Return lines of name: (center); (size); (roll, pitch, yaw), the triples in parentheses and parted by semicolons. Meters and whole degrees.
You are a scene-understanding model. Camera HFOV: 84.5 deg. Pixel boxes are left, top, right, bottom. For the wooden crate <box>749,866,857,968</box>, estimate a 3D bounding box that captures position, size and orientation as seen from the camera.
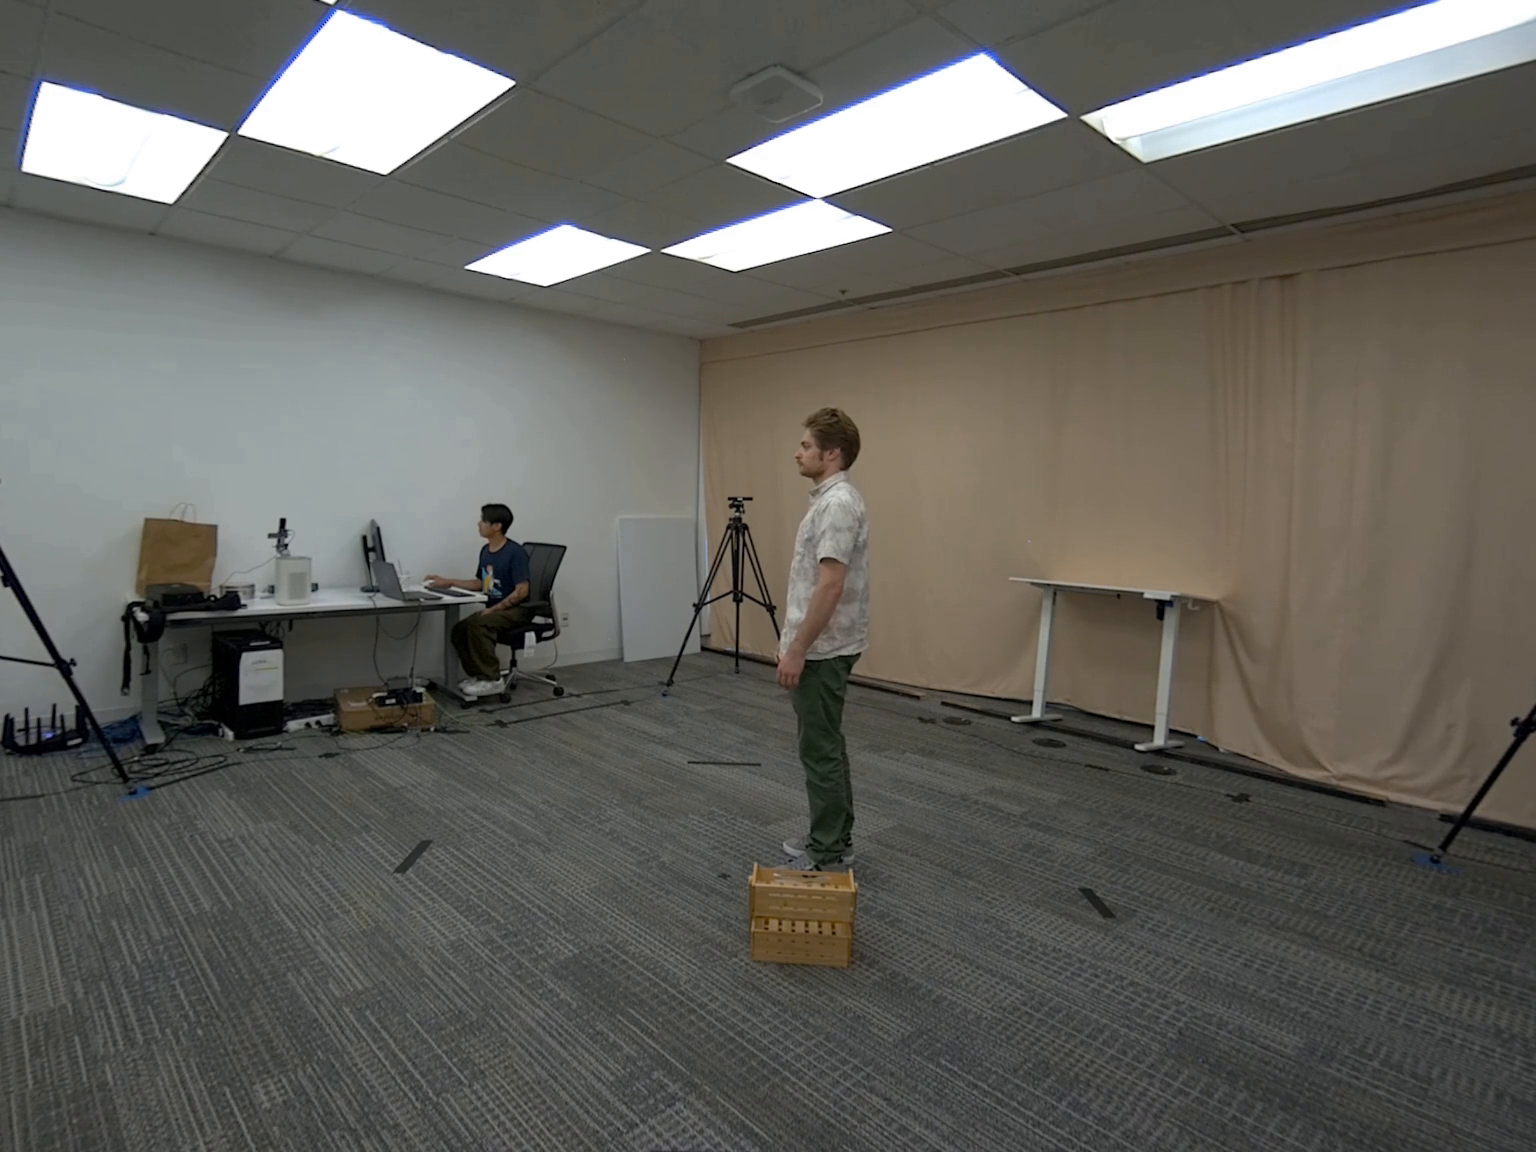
wooden crate: (0.099, 1.023, 2.620); (0.325, 0.272, 0.302); (1, 4, 3)
